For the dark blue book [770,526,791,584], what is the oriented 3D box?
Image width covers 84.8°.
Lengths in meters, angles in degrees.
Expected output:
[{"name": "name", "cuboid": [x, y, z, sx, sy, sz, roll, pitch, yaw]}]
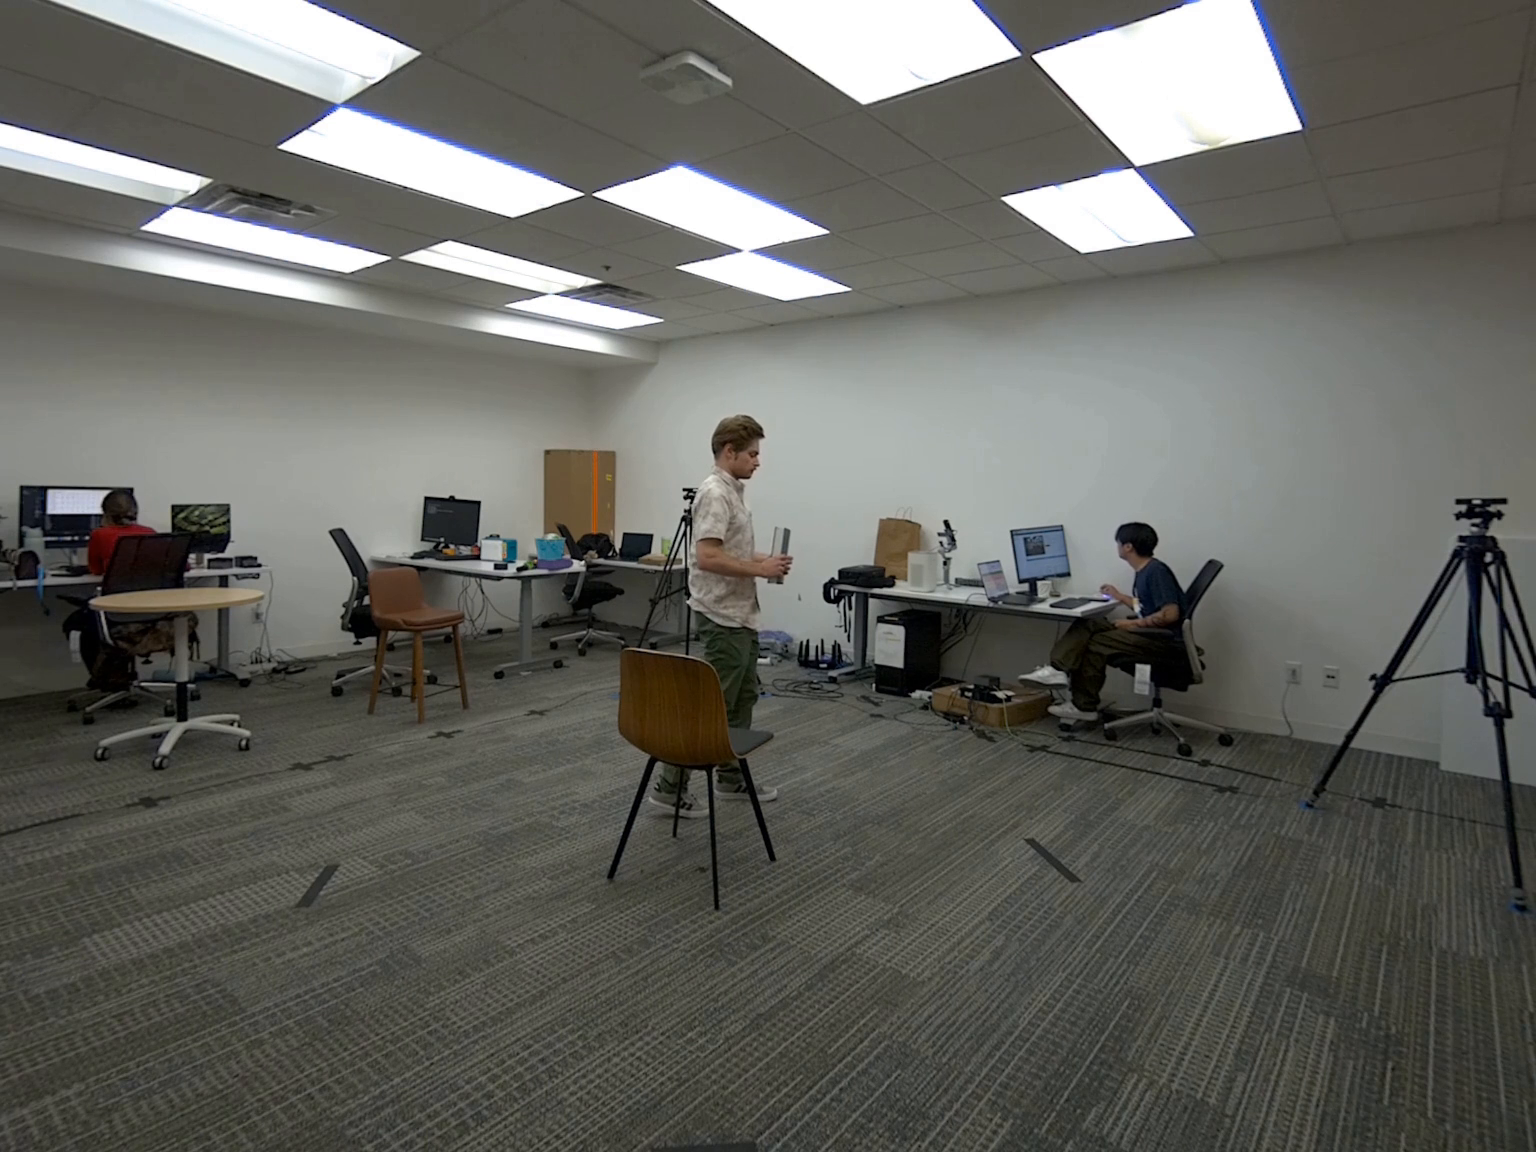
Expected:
[{"name": "dark blue book", "cuboid": [0.036, -0.091, 3.718, 0.046, 0.245, 0.160, 8, -2, 12]}]
